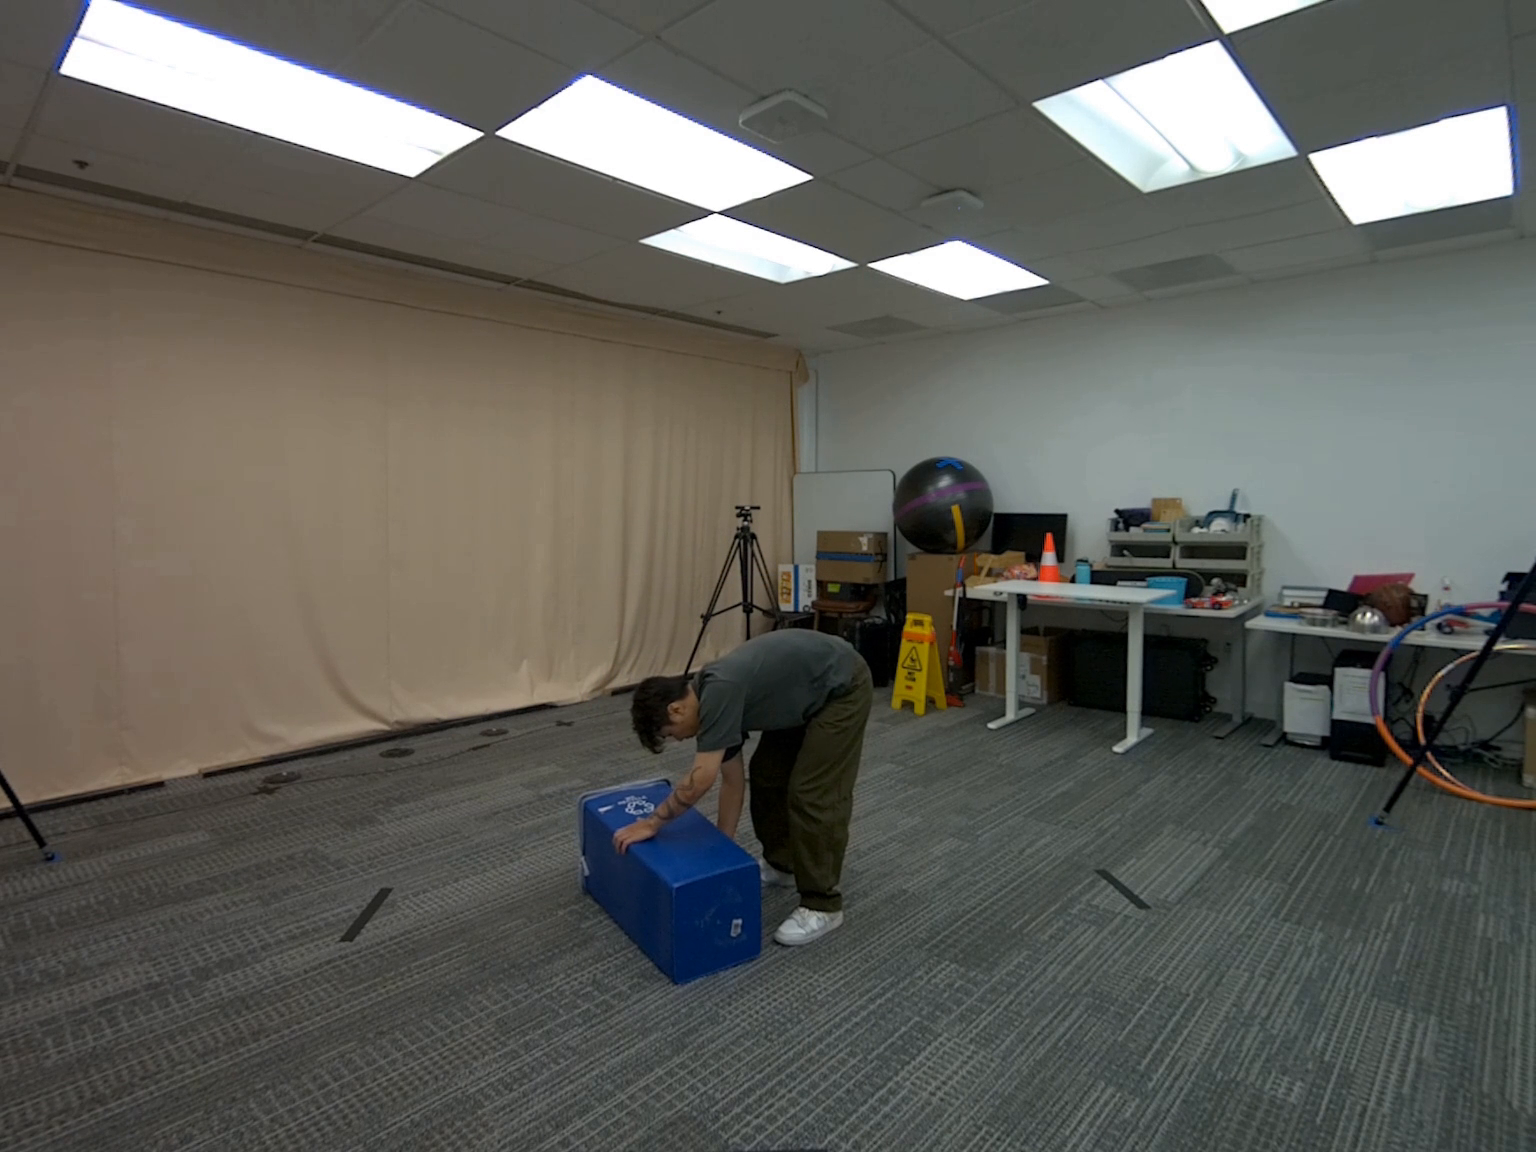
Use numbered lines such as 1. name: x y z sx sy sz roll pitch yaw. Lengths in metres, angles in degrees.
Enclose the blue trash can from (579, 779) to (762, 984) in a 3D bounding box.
1. blue trash can: -0.341 1.001 2.806 0.368 0.372 0.736 -3 9 -30
